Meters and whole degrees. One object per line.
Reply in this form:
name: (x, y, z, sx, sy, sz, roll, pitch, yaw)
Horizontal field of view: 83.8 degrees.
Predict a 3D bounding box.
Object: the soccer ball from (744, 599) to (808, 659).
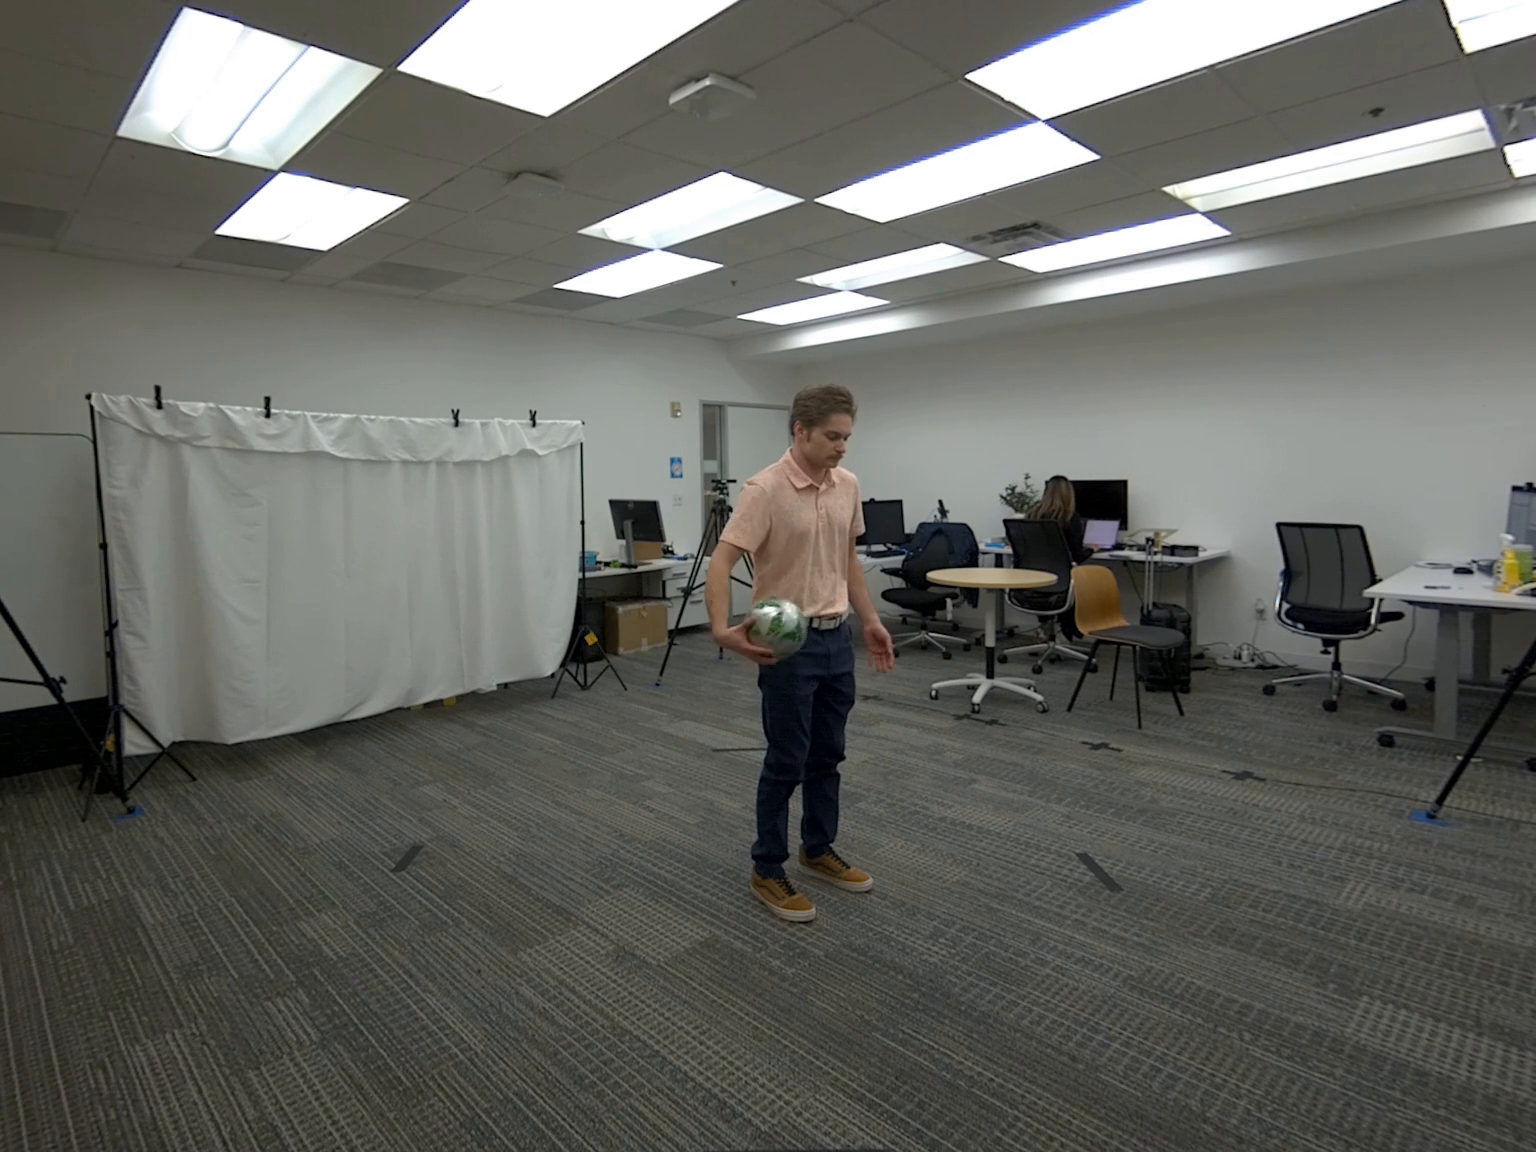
soccer ball: (0.021, 0.146, 2.551, 0.187, 0.187, 0.188, -1, 5, -2)
